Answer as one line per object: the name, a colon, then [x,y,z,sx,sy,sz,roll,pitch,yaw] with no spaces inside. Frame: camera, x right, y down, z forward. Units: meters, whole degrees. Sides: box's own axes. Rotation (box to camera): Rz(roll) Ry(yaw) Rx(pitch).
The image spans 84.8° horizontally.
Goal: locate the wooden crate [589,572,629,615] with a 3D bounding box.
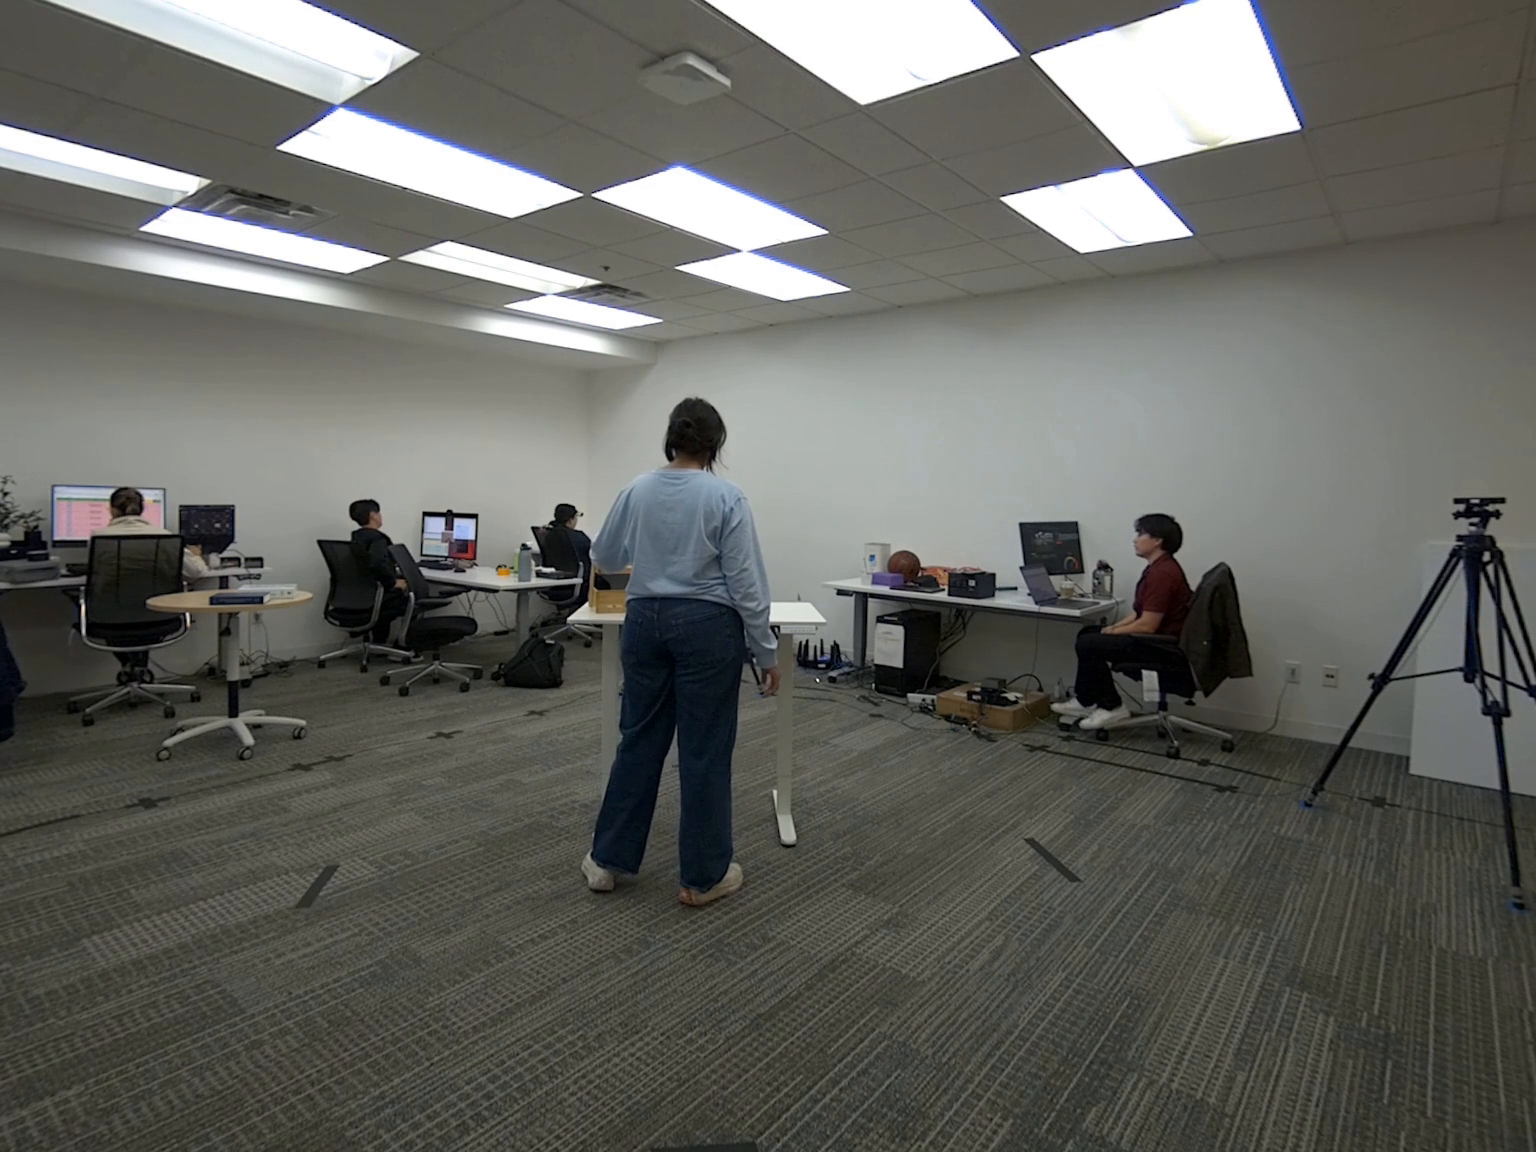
wooden crate: [-0.596,0.007,3.566,0.319,0.272,0.309,-1,5,-18]
